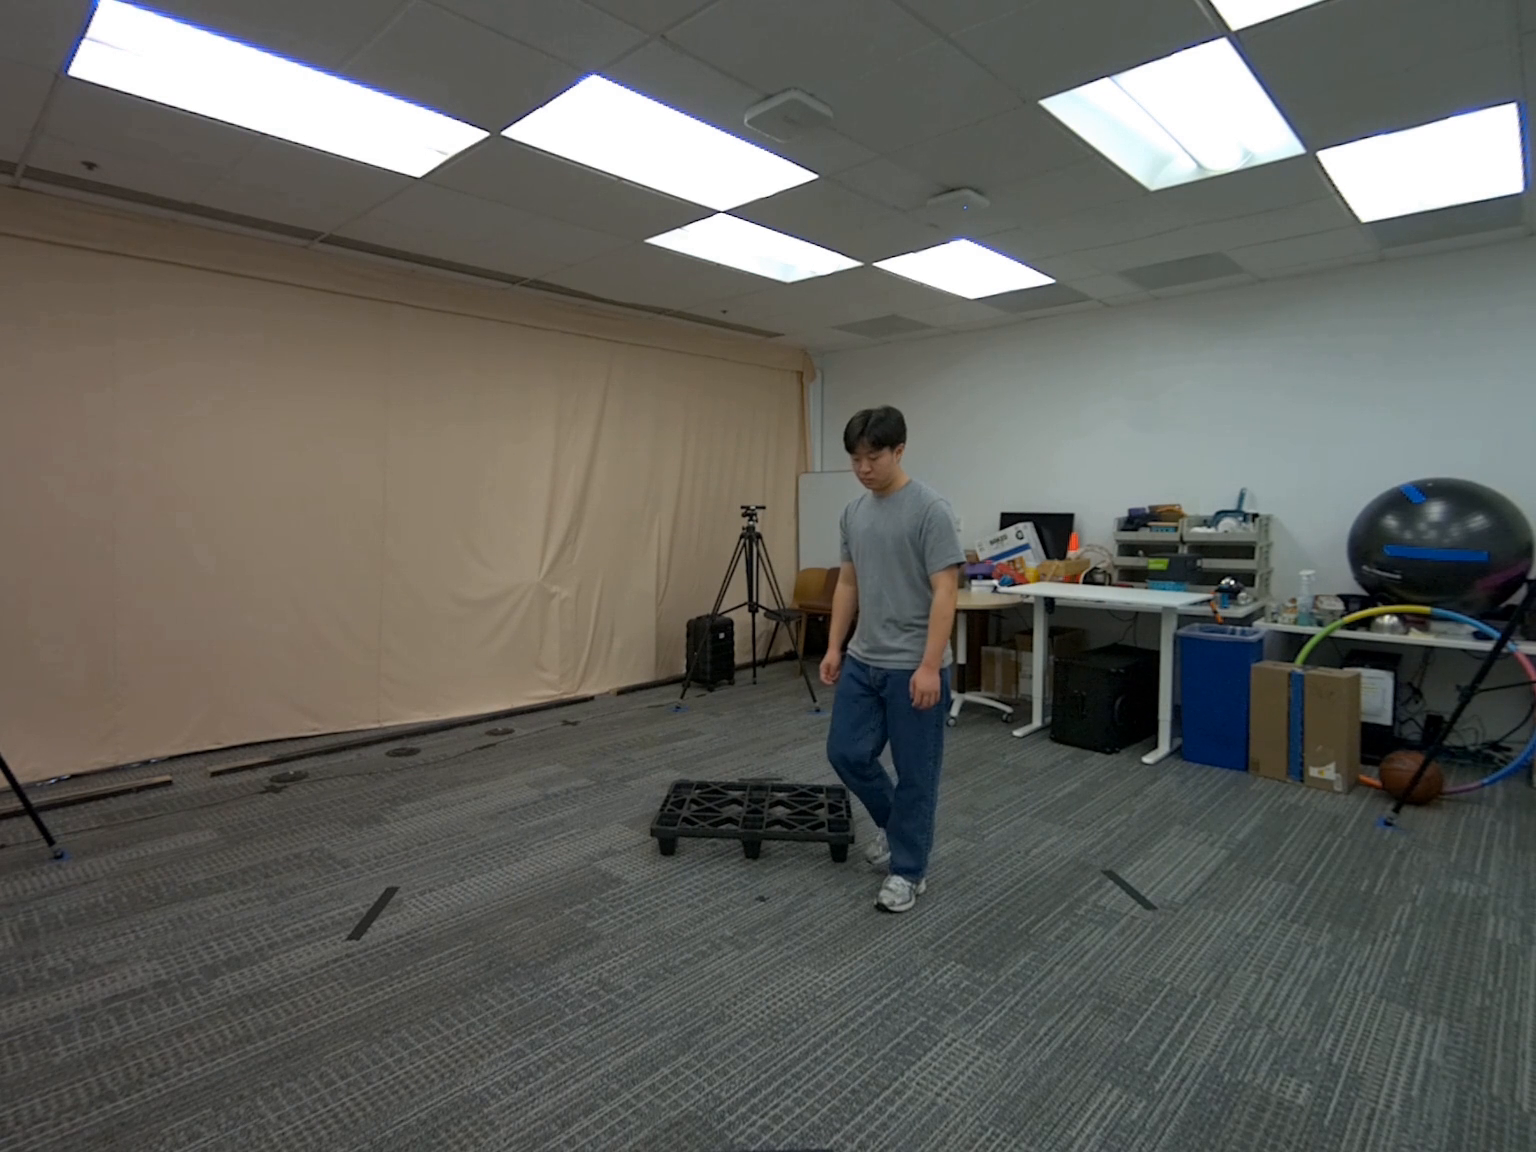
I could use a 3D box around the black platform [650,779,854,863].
[{"bbox_3d":[-0.047,1.027,3.541,0.811,0.143,0.603,0,5,5],"label":"black platform"}]
